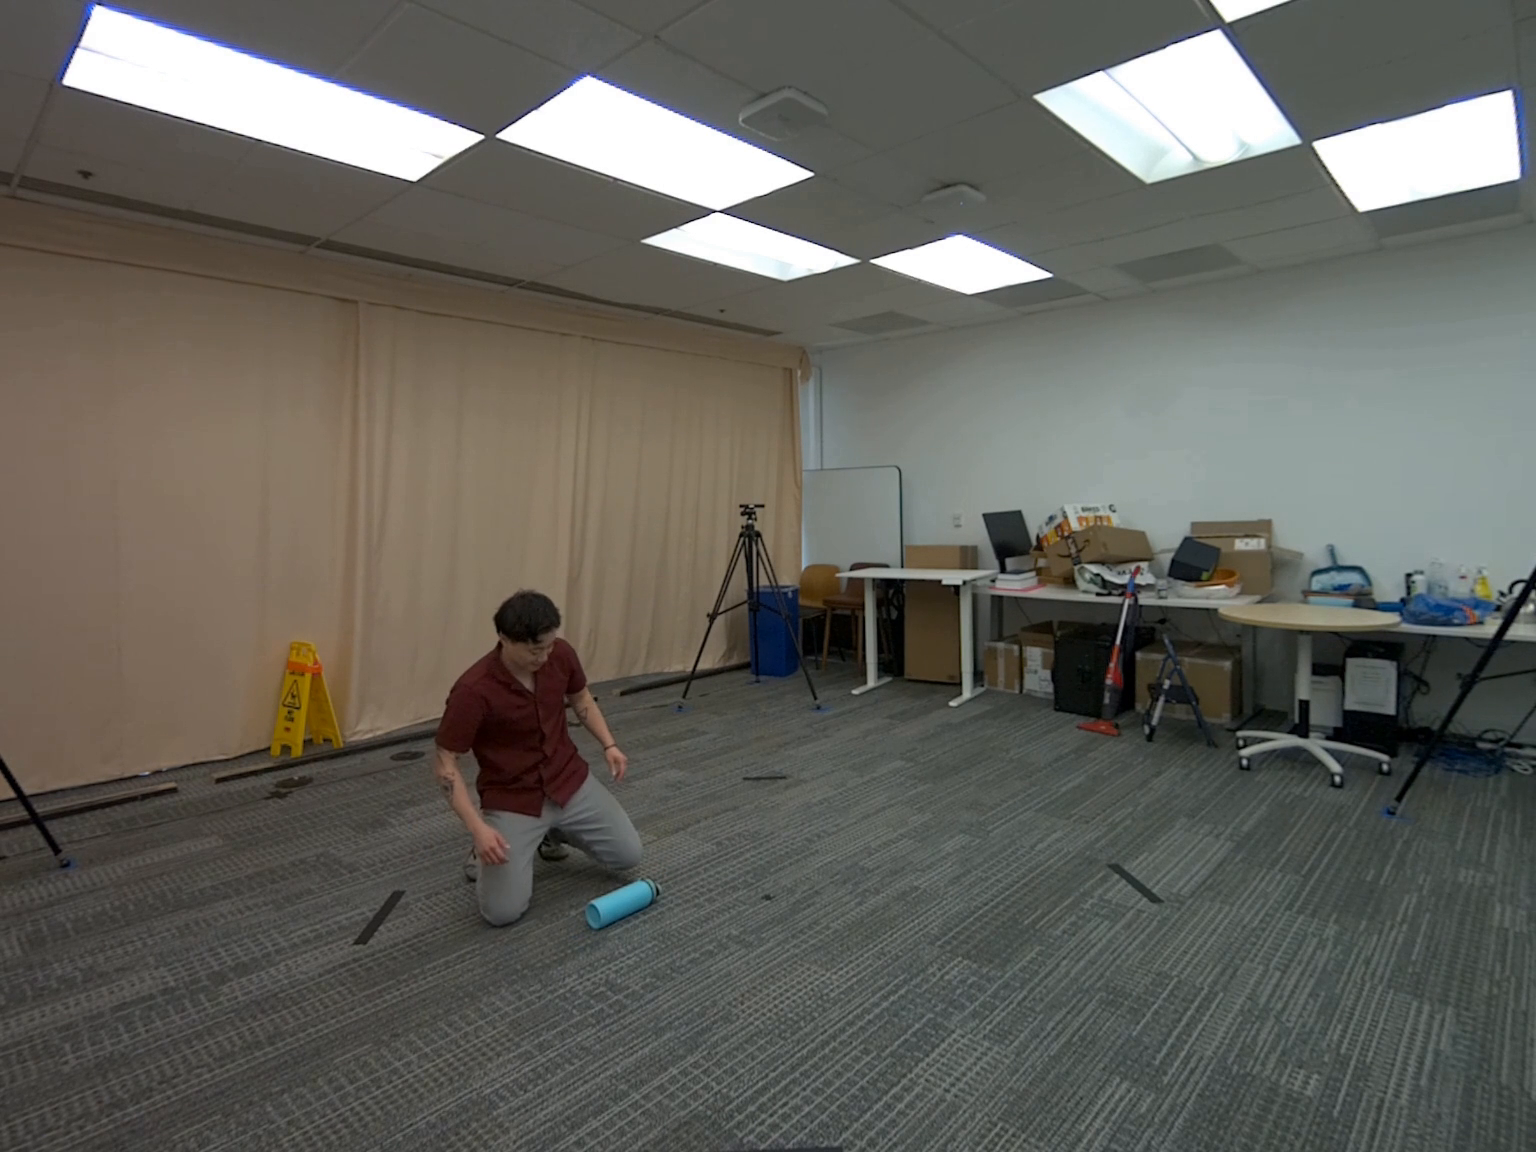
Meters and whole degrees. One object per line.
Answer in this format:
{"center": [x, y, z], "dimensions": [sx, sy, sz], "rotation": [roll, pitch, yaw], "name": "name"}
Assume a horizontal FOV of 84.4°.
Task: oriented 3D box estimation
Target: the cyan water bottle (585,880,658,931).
{"center": [-0.489, 1.114, 2.877], "dimensions": [0.095, 0.092, 0.275], "rotation": [3, 6, 41], "name": "cyan water bottle"}
